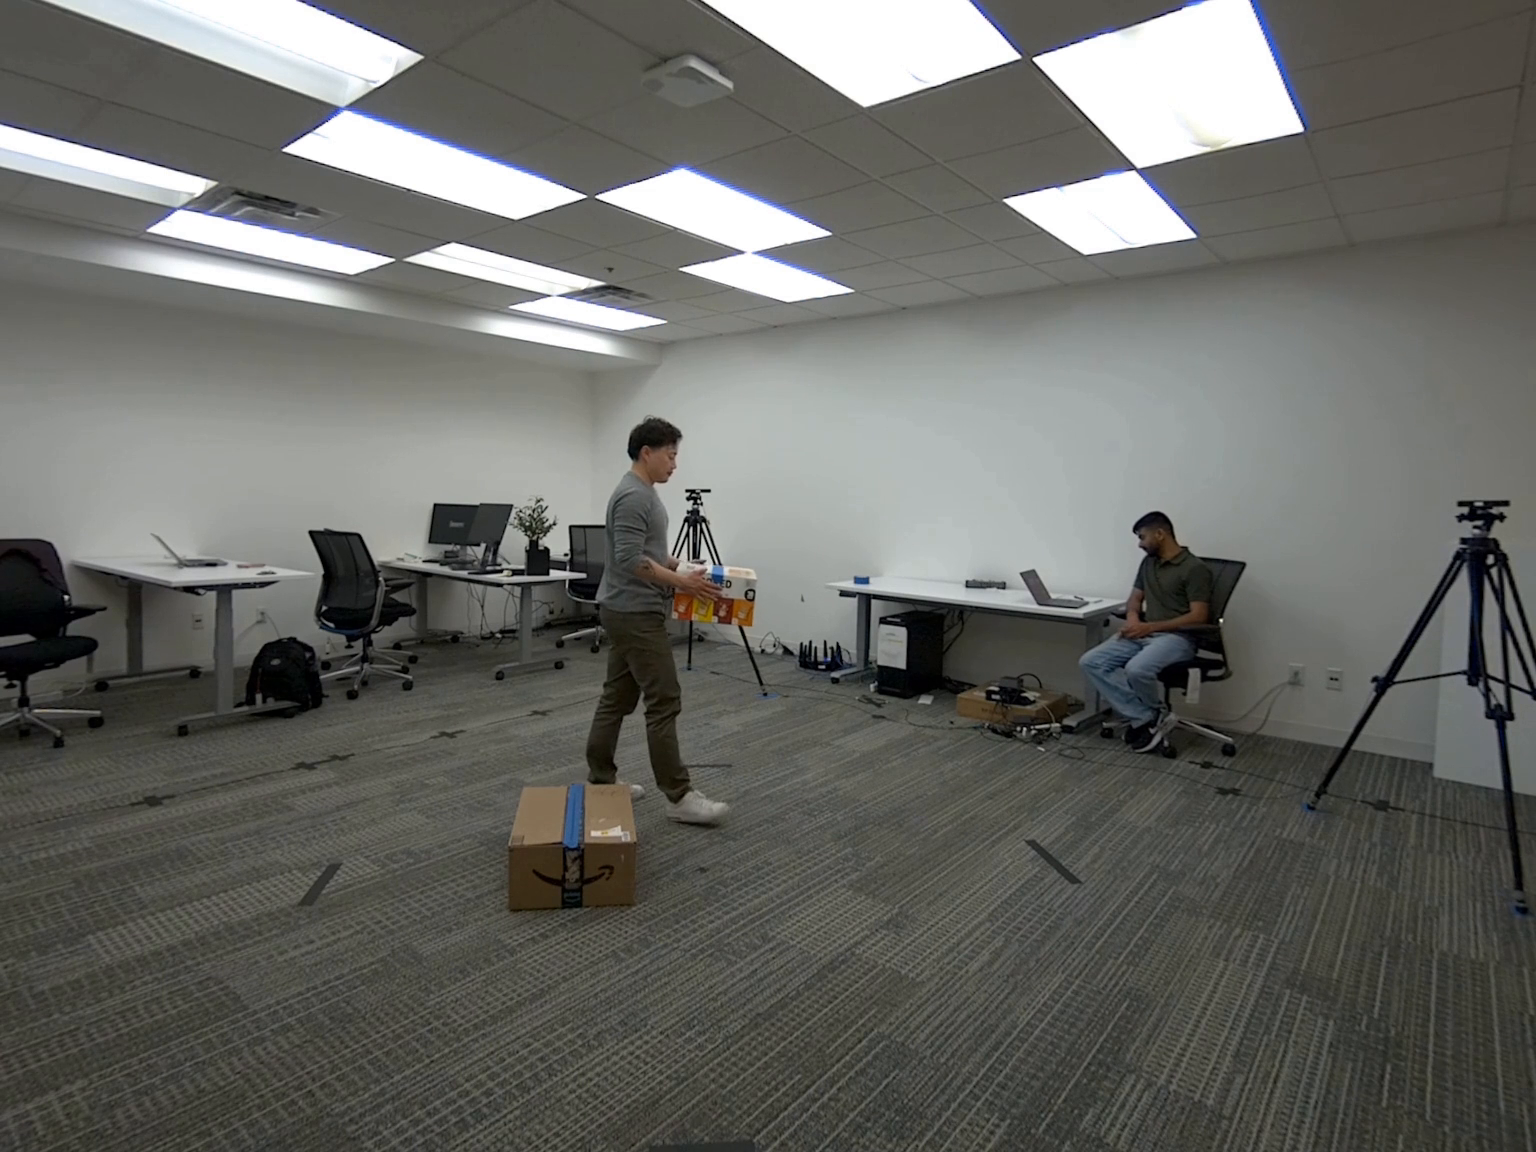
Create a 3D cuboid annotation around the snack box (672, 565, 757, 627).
[{"bbox_3d":[-0.240,0.070,3.713,0.340,0.205,0.407,6,5,-3],"label":"snack box"}]
